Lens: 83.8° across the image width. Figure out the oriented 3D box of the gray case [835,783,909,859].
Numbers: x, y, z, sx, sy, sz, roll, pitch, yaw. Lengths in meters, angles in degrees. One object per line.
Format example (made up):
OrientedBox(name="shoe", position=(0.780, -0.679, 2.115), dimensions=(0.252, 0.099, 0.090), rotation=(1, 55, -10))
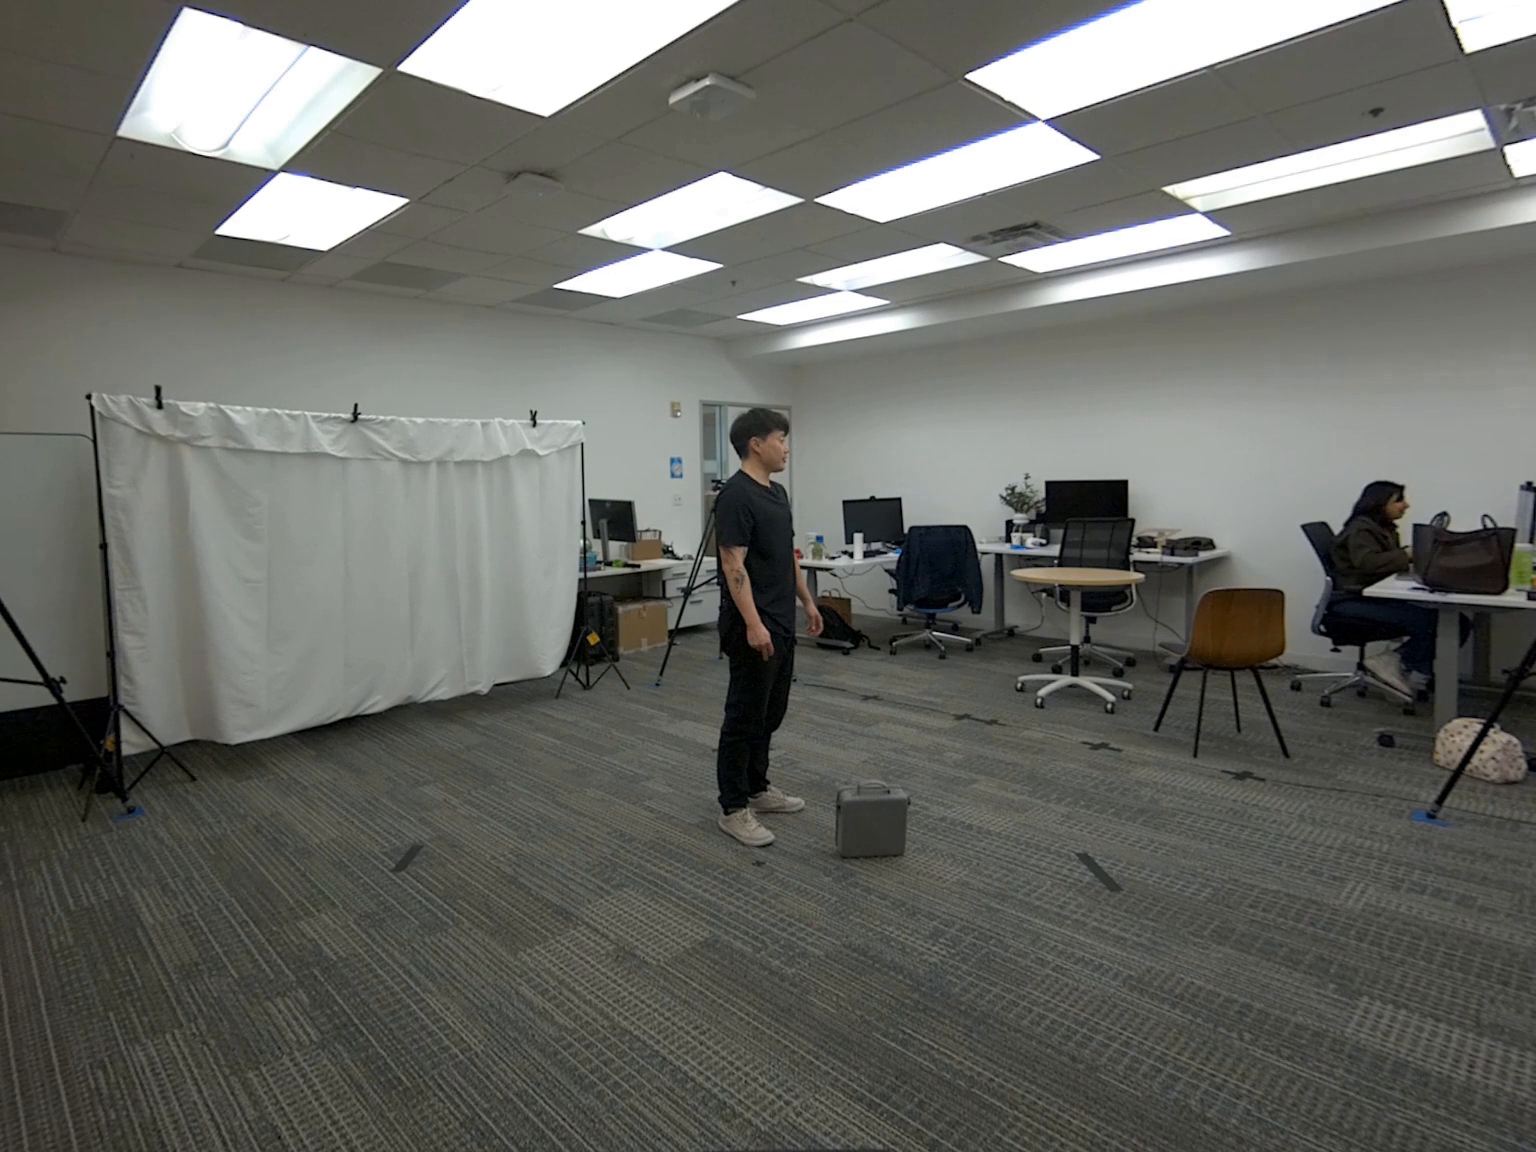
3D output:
OrientedBox(name="gray case", position=(0.389, 0.899, 3.155), dimensions=(0.256, 0.258, 0.106), rotation=(-2, 12, -4))
